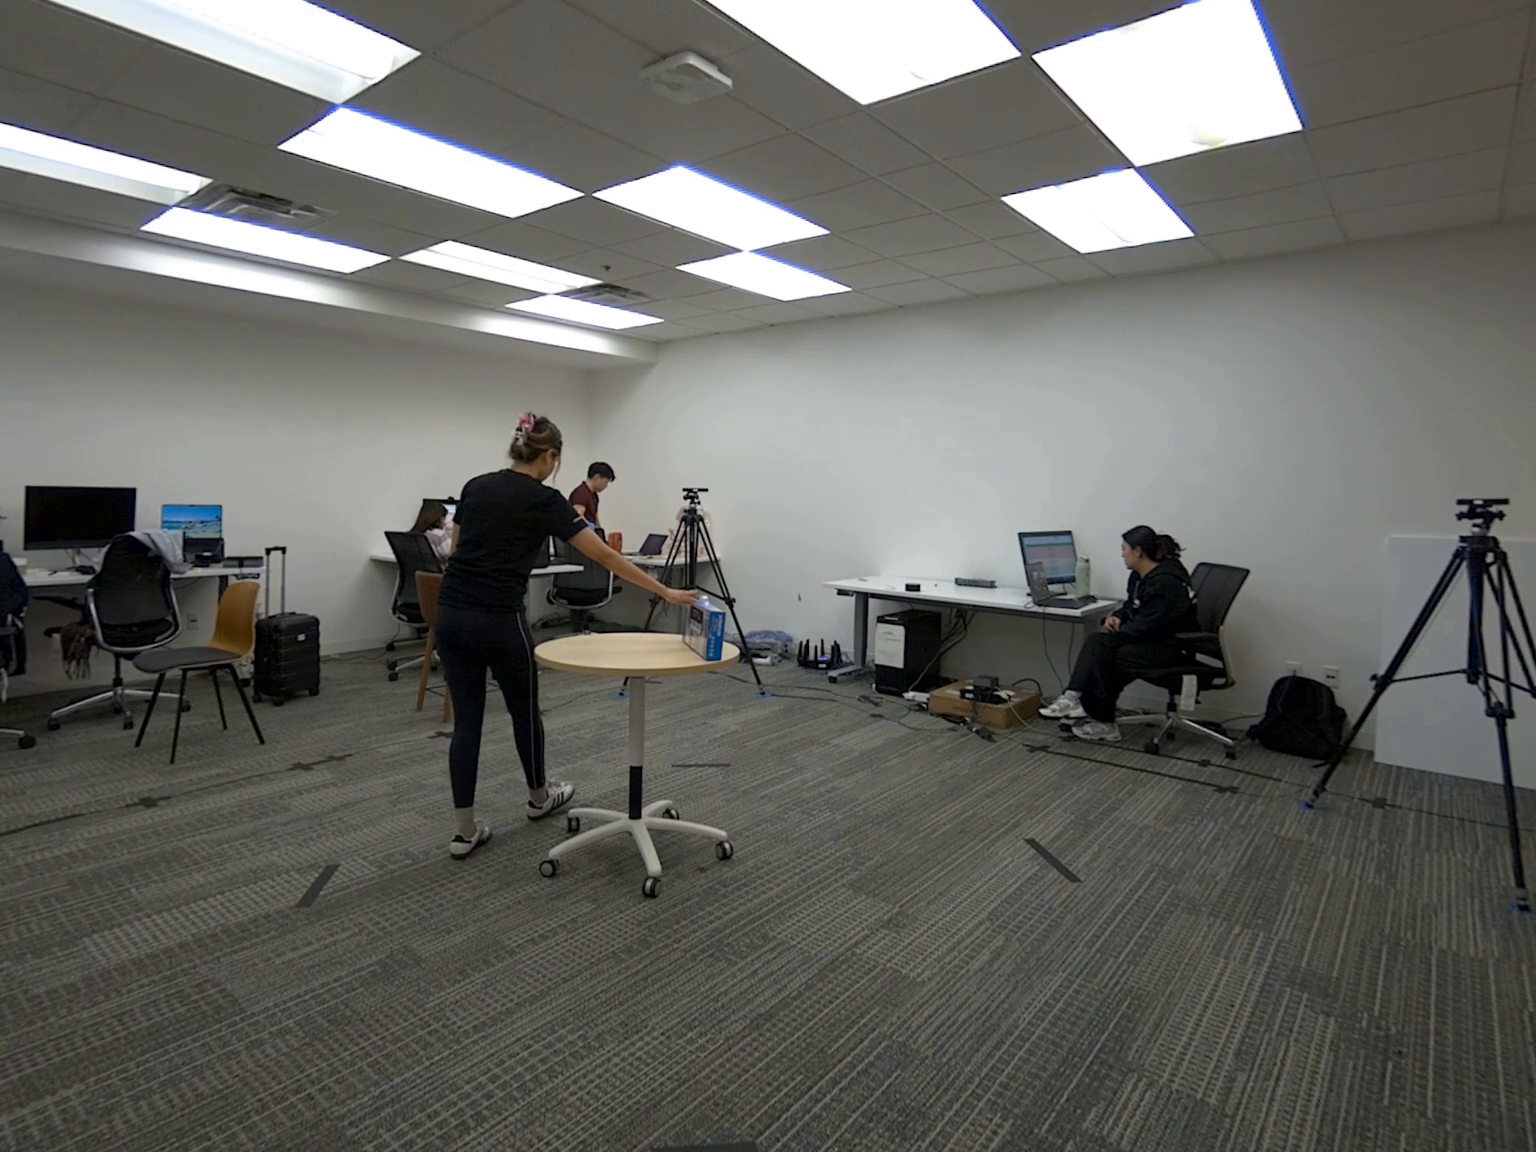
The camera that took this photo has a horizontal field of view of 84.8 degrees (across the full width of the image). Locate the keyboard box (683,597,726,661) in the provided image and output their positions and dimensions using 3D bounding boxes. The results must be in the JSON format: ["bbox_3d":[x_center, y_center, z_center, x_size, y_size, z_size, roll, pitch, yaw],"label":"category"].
[{"bbox_3d":[-0.260,0.191,3.195,0.058,0.176,0.445,5,3,-16],"label":"keyboard box"}]
